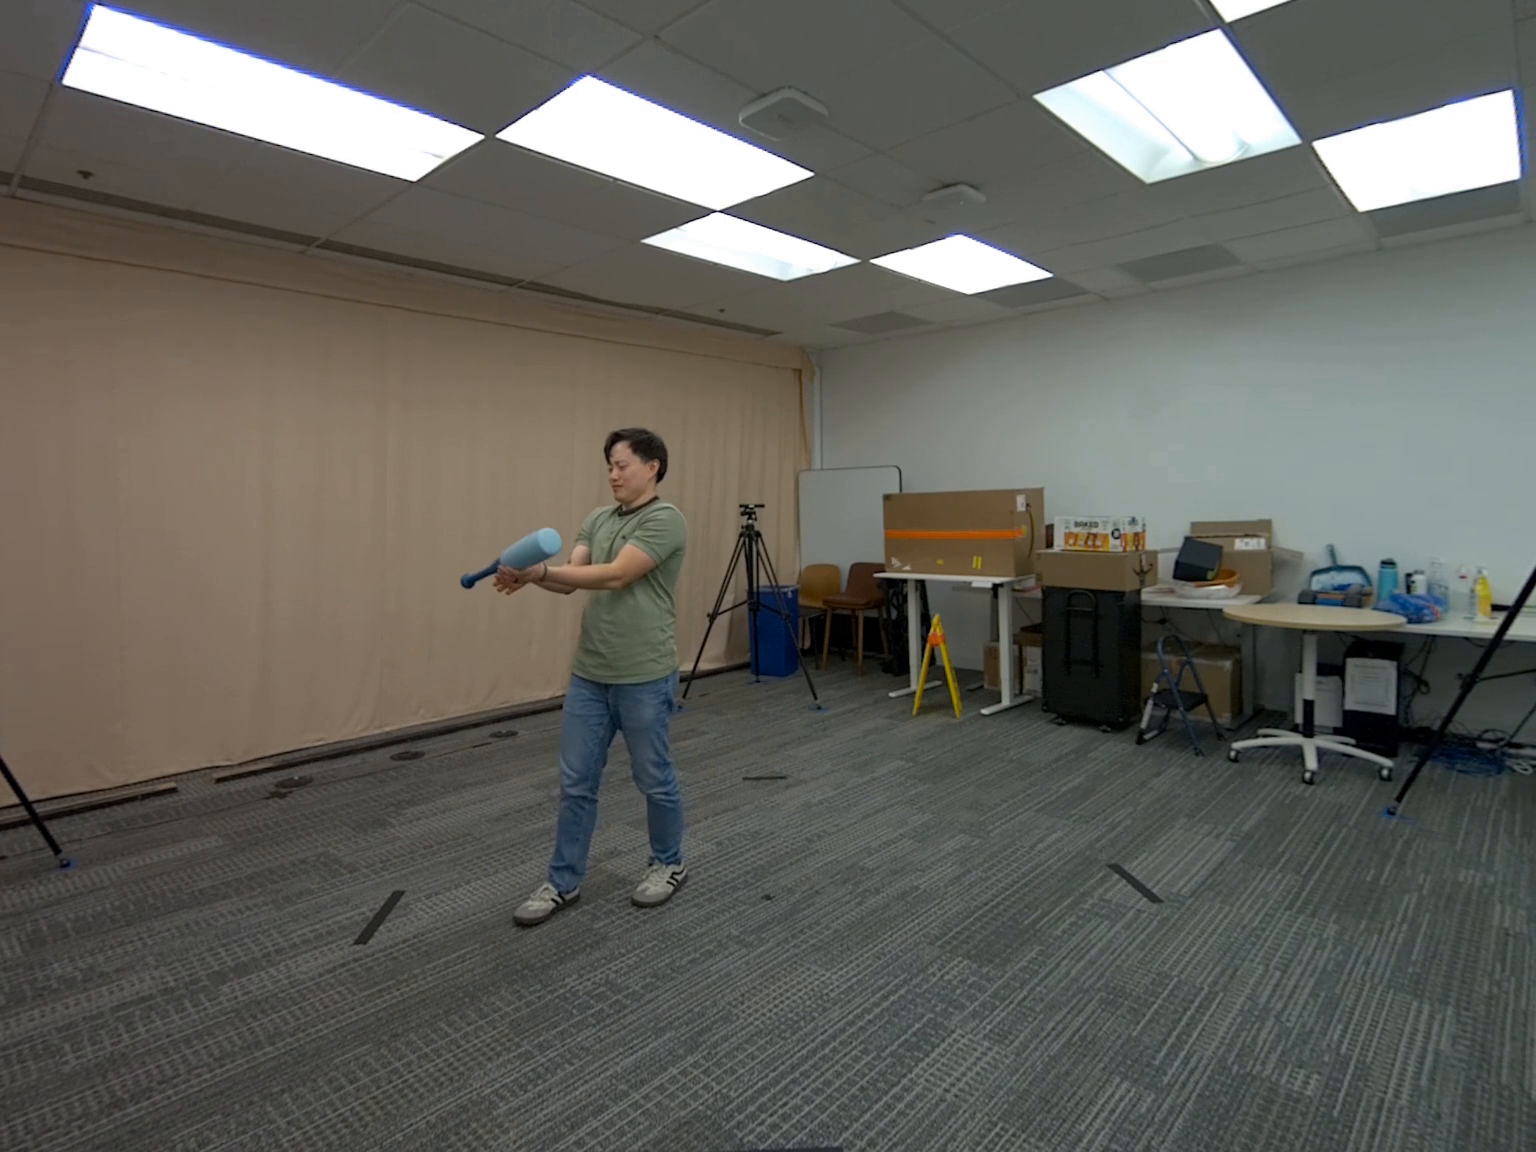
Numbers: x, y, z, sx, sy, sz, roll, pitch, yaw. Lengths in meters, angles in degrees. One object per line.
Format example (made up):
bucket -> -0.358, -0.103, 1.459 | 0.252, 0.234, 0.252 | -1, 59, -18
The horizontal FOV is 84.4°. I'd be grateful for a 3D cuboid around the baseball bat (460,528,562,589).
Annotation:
baseball bat -> -0.824, -0.042, 2.626 | 0.556, 0.089, 0.086 | -18, -9, 42
